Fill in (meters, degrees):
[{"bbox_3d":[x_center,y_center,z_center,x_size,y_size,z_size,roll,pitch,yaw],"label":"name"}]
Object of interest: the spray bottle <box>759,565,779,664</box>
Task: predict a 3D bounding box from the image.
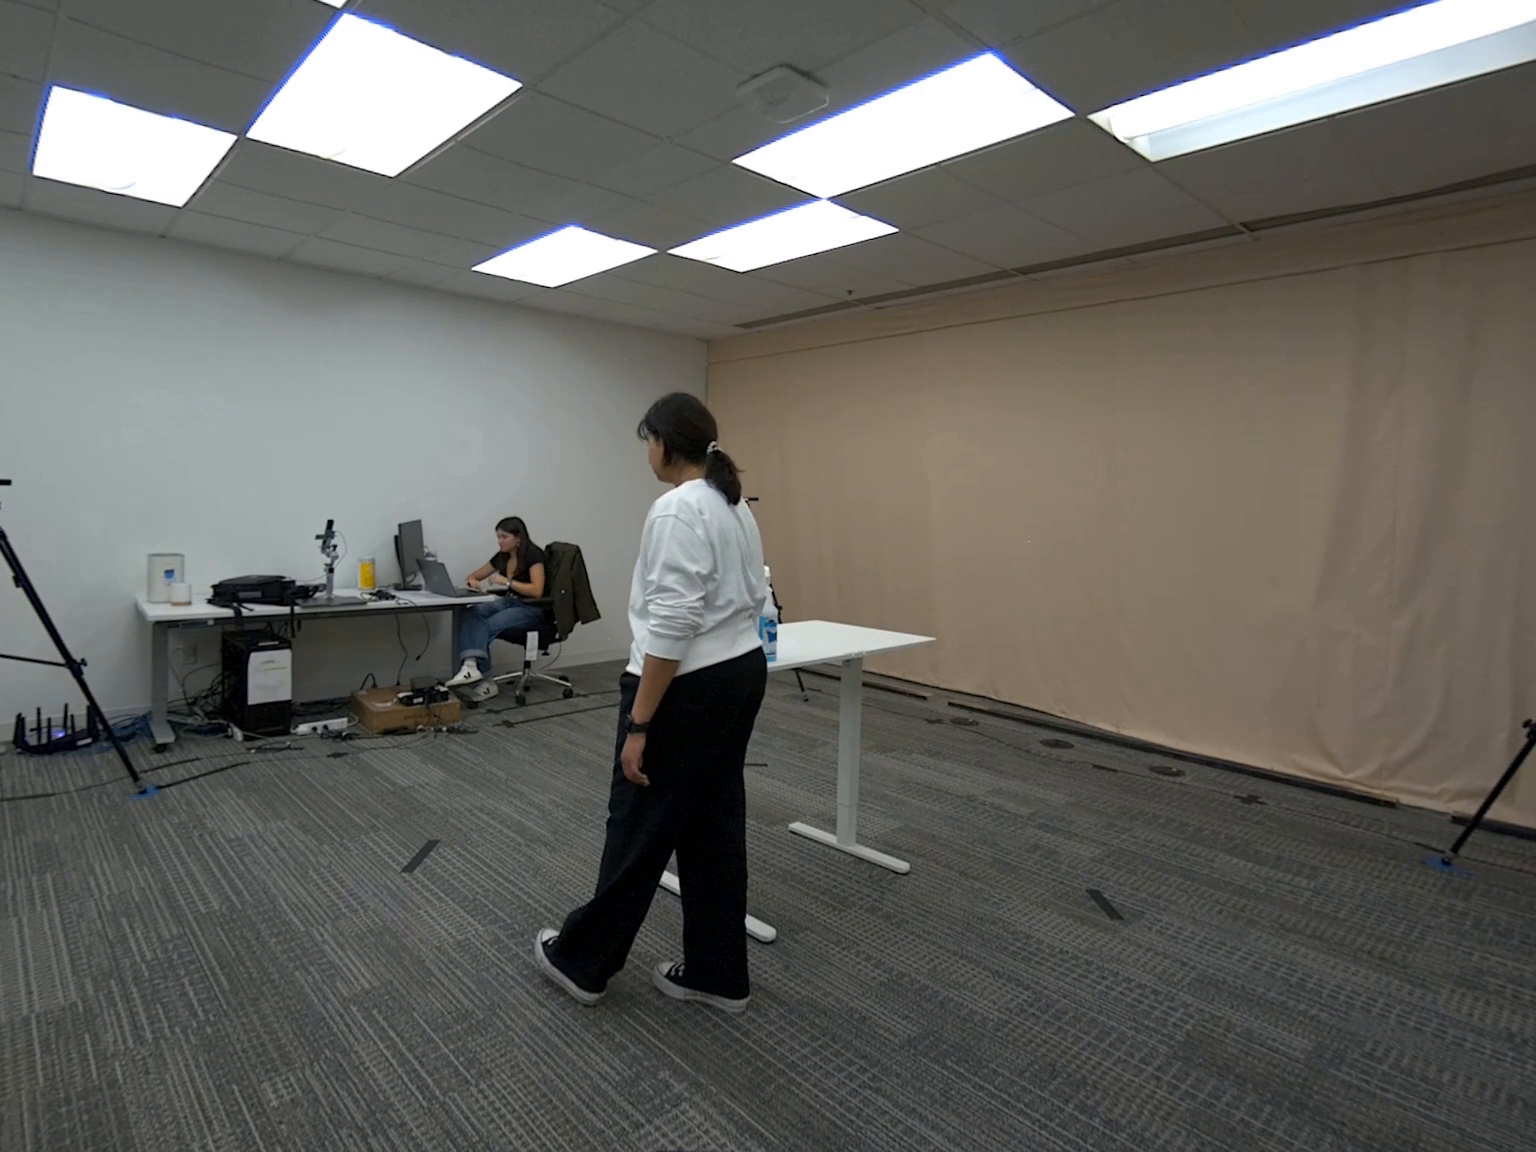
[{"bbox_3d":[-0.009,0.122,2.661,0.088,0.297,0.089,3,2,17],"label":"spray bottle"}]
